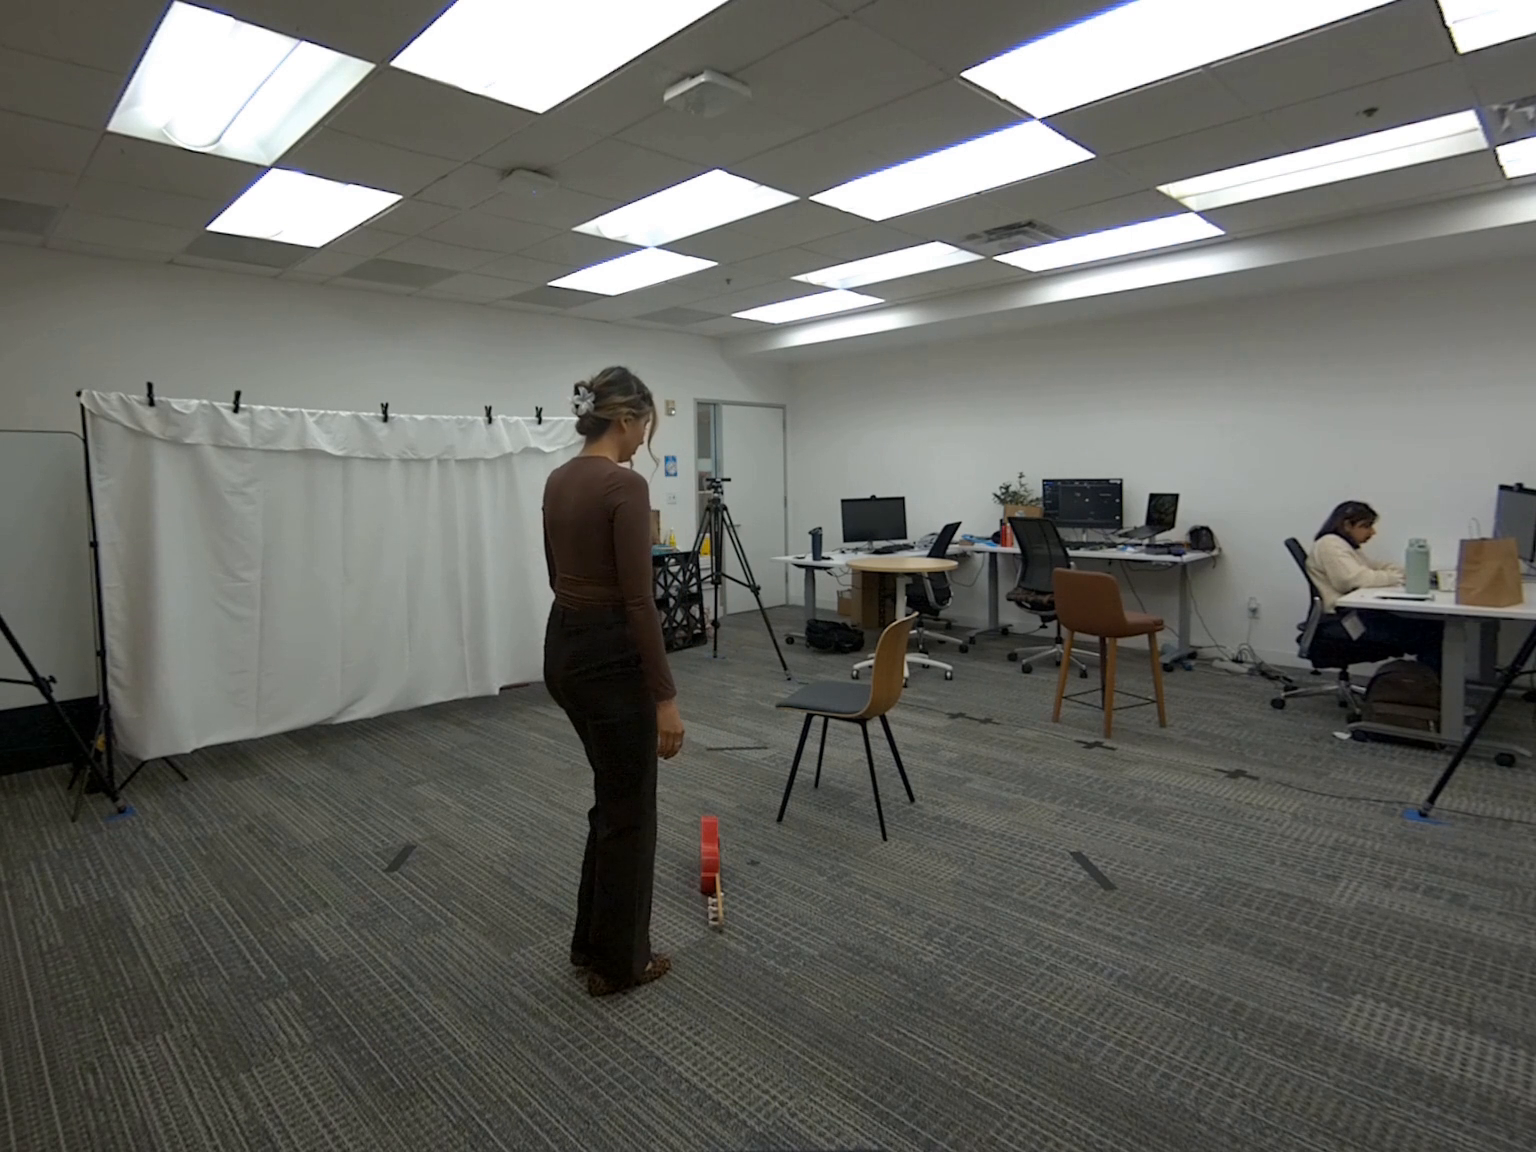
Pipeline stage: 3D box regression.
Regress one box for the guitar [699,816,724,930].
[{"bbox_3d":[-0.184,0.981,2.861,0.070,0.192,0.503,3,6,-7],"label":"guitar"}]
